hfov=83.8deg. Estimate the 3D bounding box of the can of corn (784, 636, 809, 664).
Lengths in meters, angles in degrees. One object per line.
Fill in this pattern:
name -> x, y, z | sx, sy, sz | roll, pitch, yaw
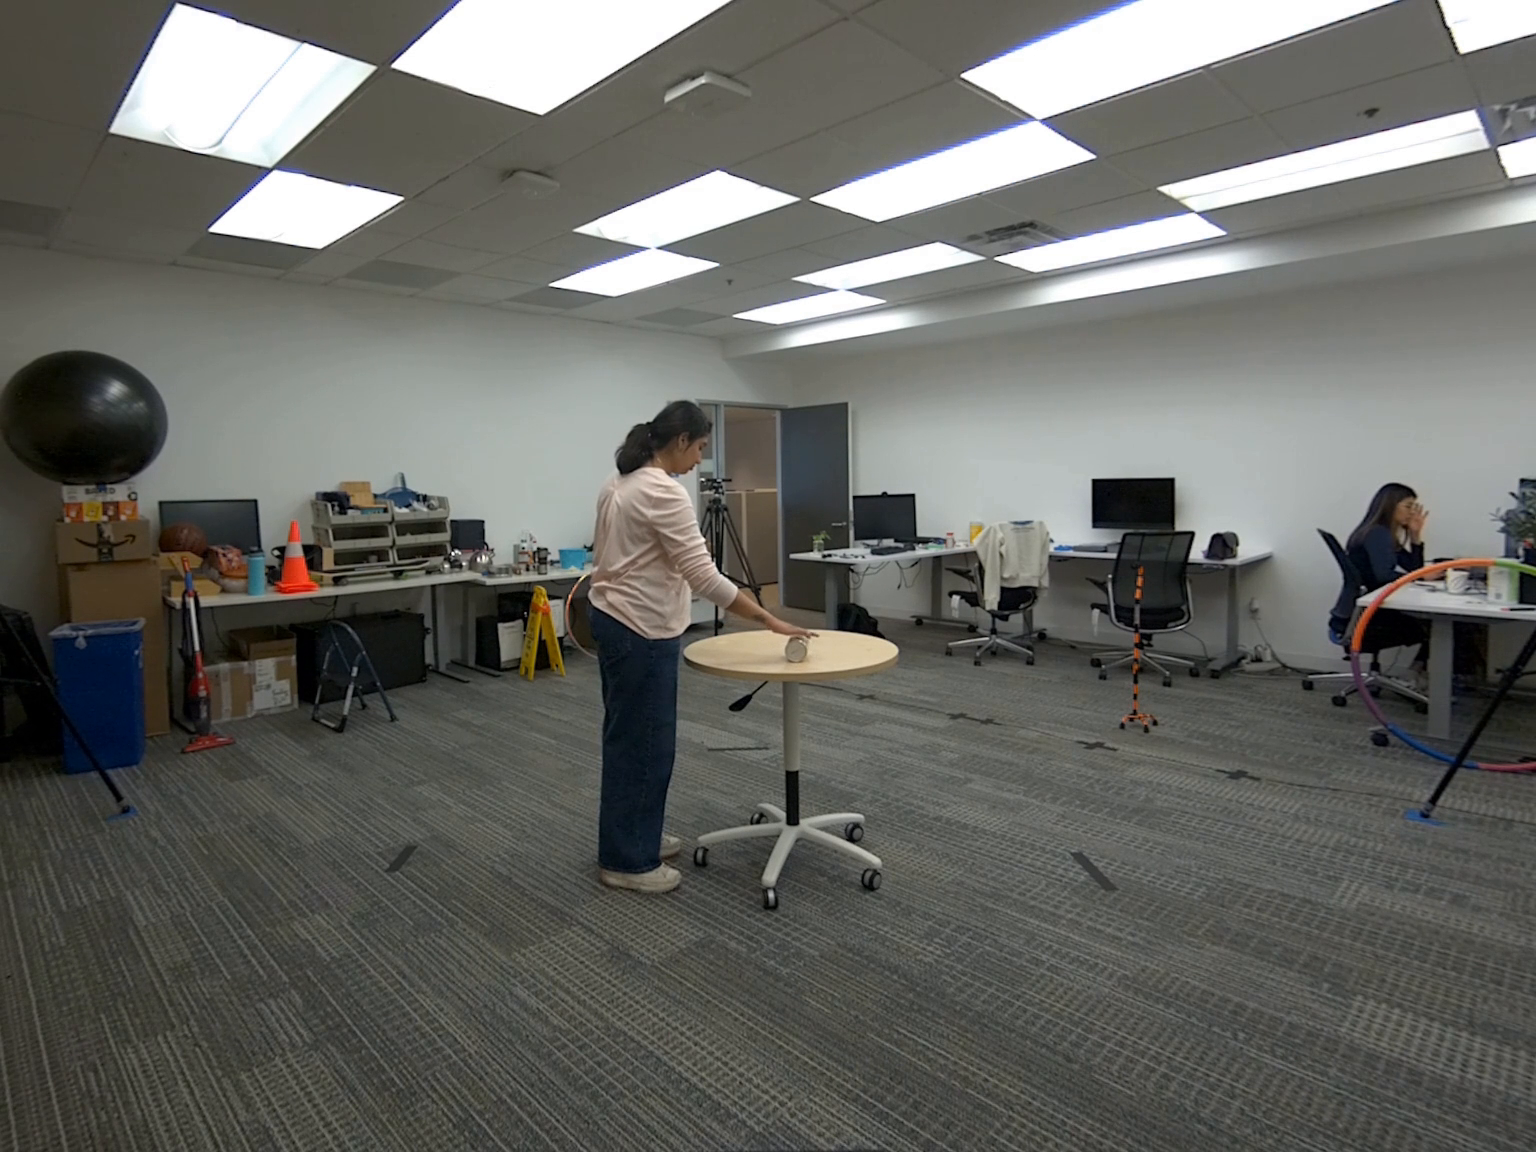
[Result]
can of corn -> 0.094, 0.242, 2.893 | 0.074, 0.074, 0.111 | -1, 7, 2
